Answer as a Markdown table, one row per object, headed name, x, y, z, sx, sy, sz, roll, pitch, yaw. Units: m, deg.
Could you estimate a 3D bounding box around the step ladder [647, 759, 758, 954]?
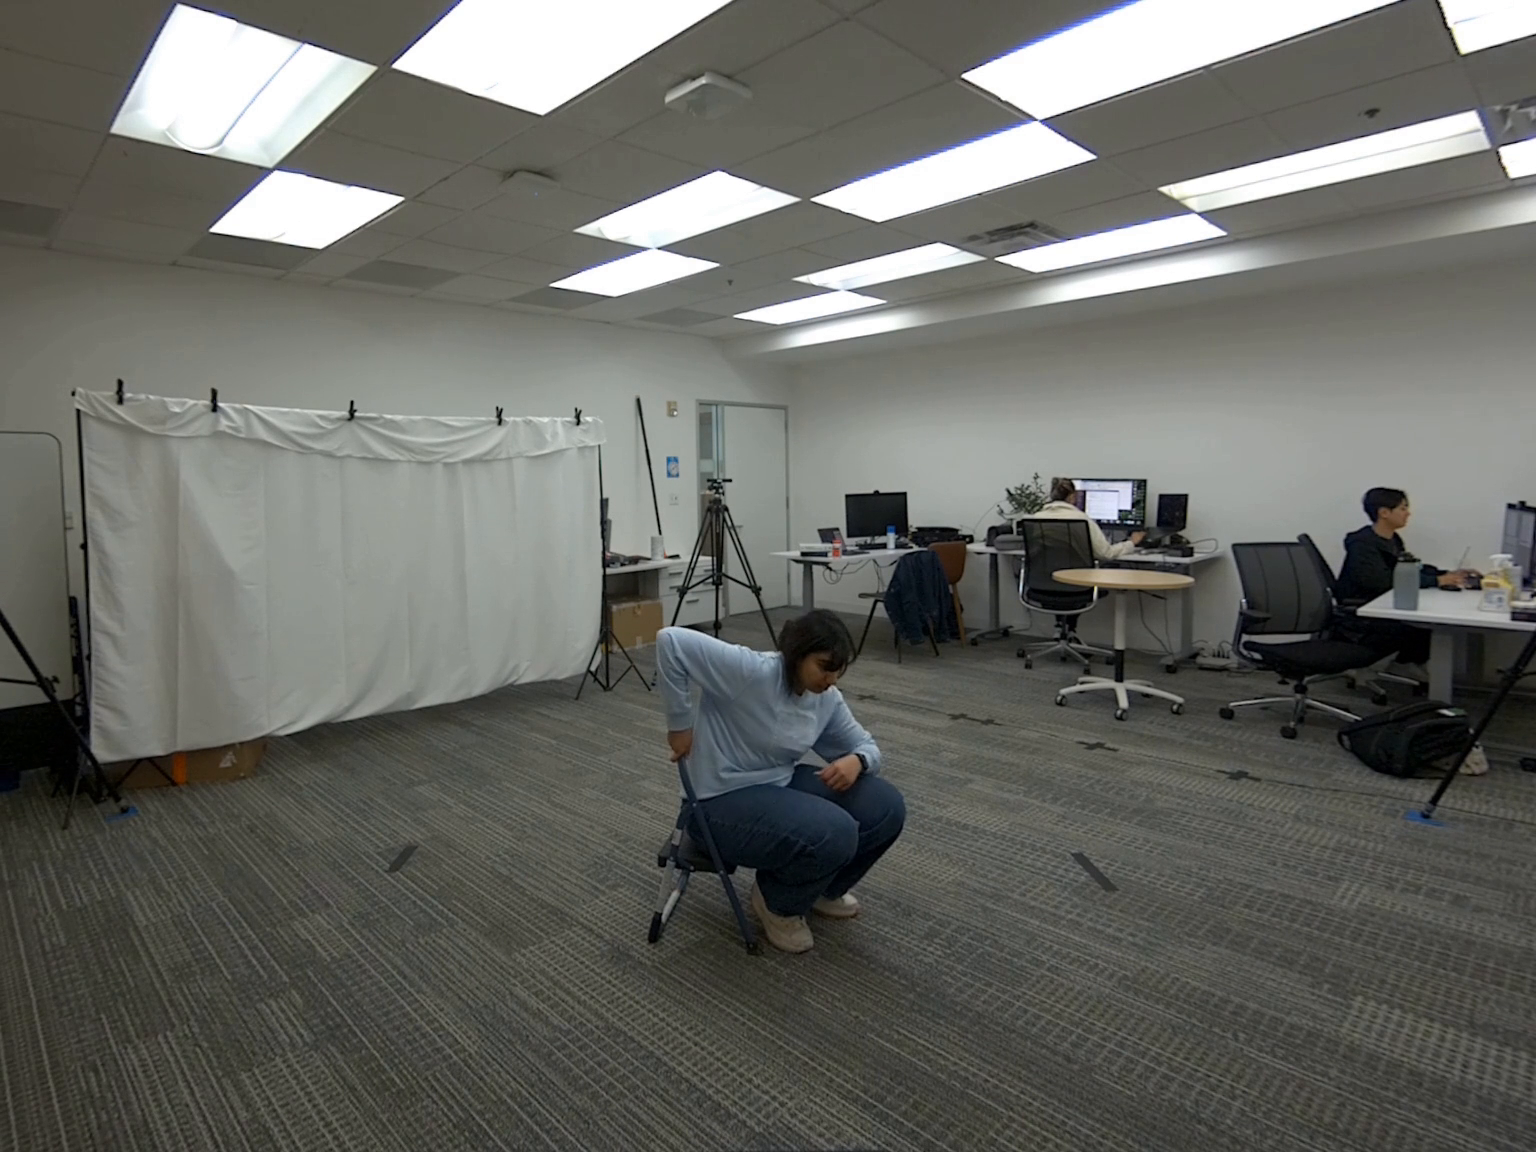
| name | x | y | z | sx | sy | sz | roll | pitch | yaw |
| --- | --- | --- | --- | --- | --- | --- | --- | --- | --- |
| step ladder | -0.172 | 0.795 | 2.736 | 0.353 | 0.605 | 0.428 | 0 | 3 | 9 |
